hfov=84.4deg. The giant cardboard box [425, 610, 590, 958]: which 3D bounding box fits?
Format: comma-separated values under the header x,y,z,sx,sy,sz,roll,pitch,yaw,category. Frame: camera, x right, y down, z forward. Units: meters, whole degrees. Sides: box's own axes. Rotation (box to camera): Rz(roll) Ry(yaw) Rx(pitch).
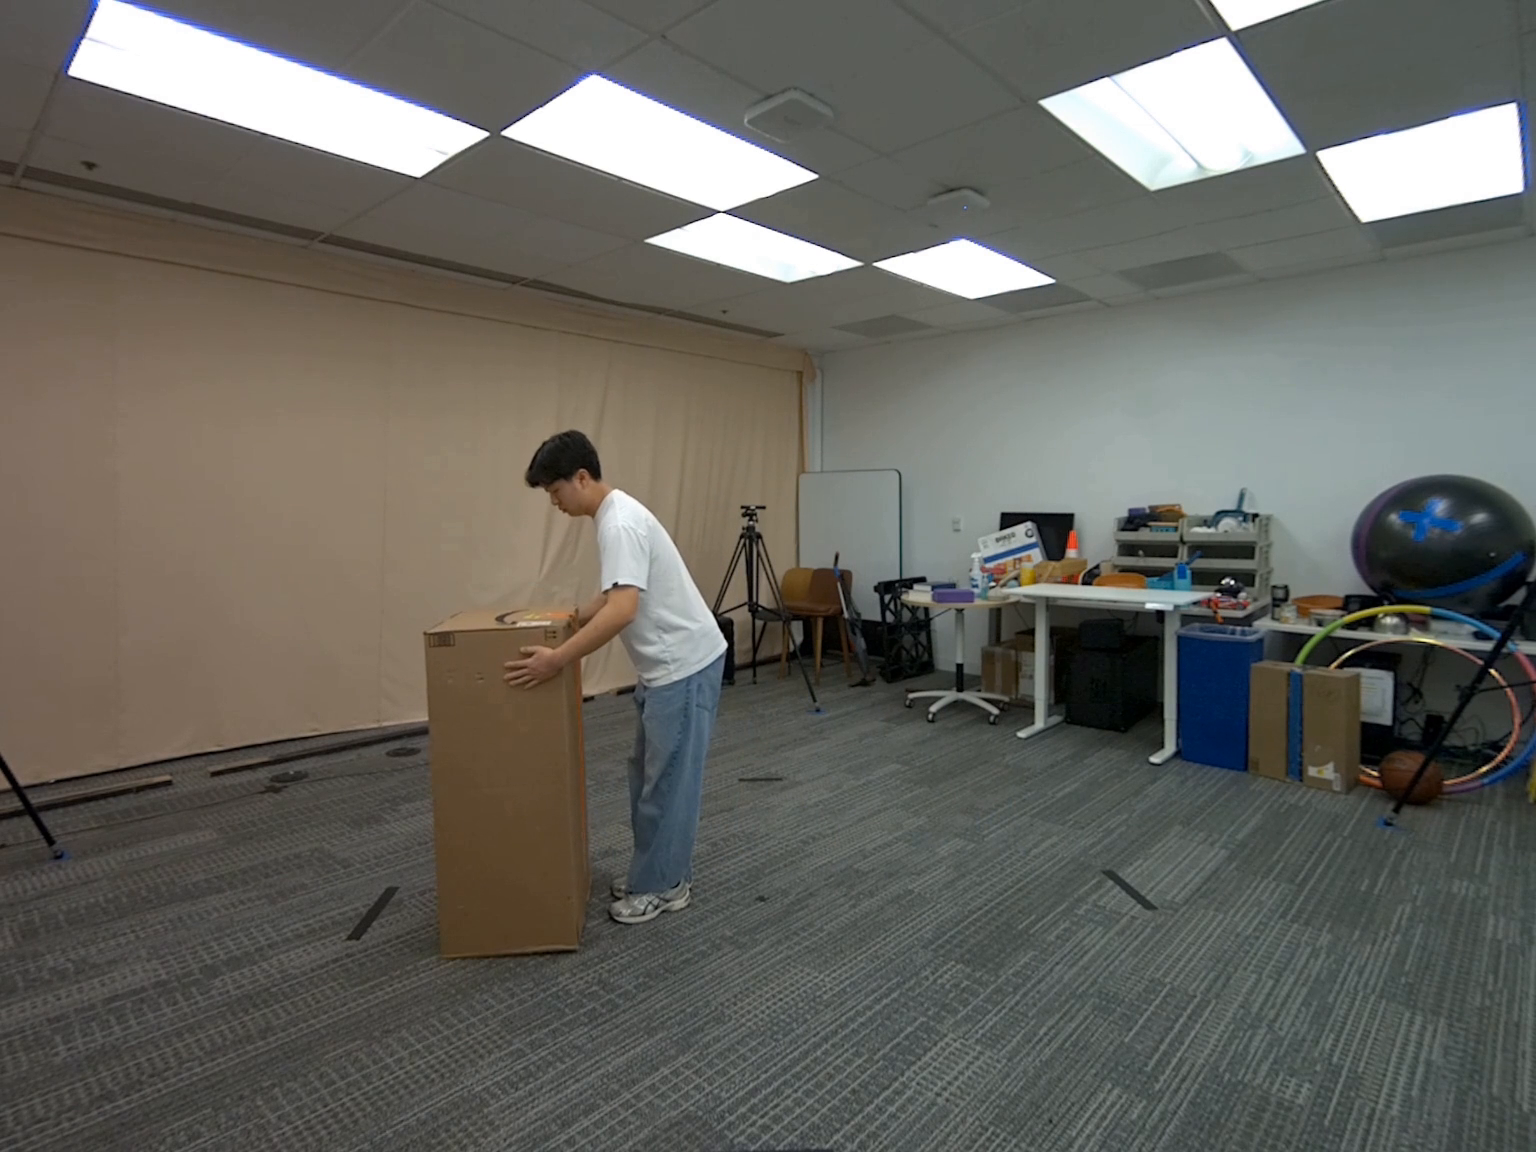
x,y,z,sx,sy,sz,roll,pitch,yaw,category
-0.862,0.651,2.865,0.424,1.024,0.582,-2,3,-7,giant cardboard box
